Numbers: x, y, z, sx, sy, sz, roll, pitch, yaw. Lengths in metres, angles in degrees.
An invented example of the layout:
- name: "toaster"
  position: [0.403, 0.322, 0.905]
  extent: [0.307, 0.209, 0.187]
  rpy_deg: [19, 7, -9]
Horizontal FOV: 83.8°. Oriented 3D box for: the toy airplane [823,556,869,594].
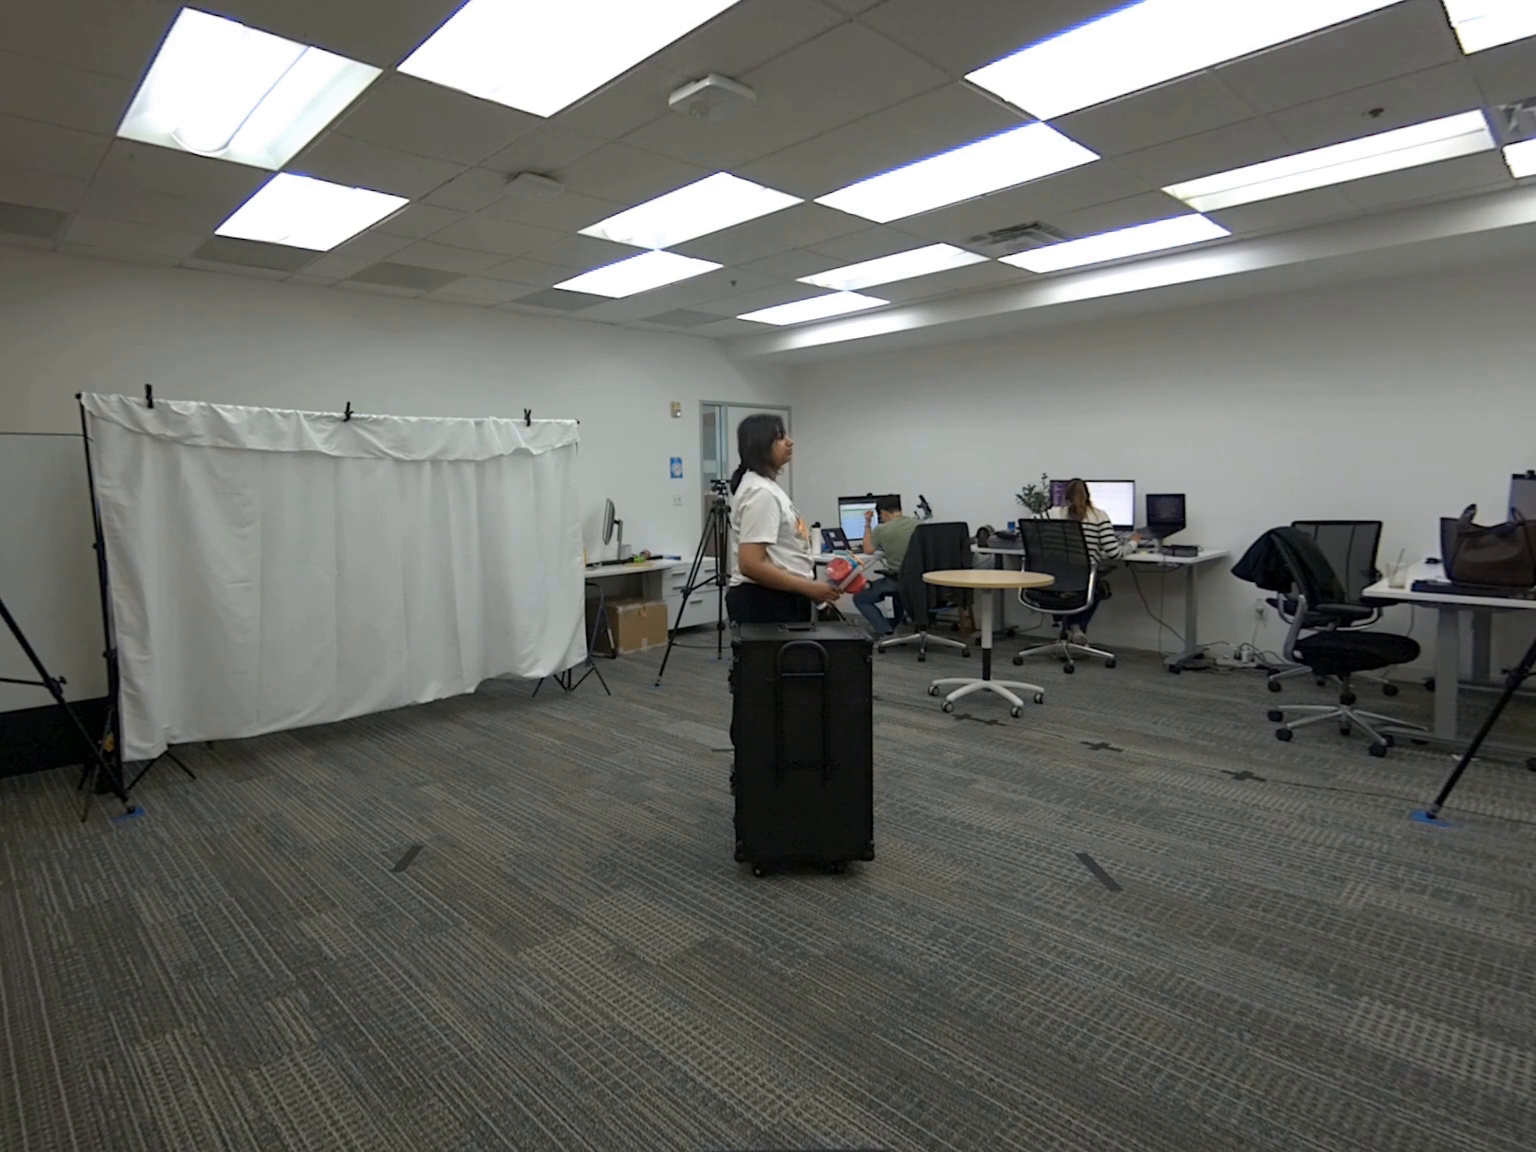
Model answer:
- name: "toy airplane"
  position: [0.289, 0.038, 3.418]
  extent: [0.258, 0.154, 0.256]
  rpy_deg: [-40, 16, -29]
